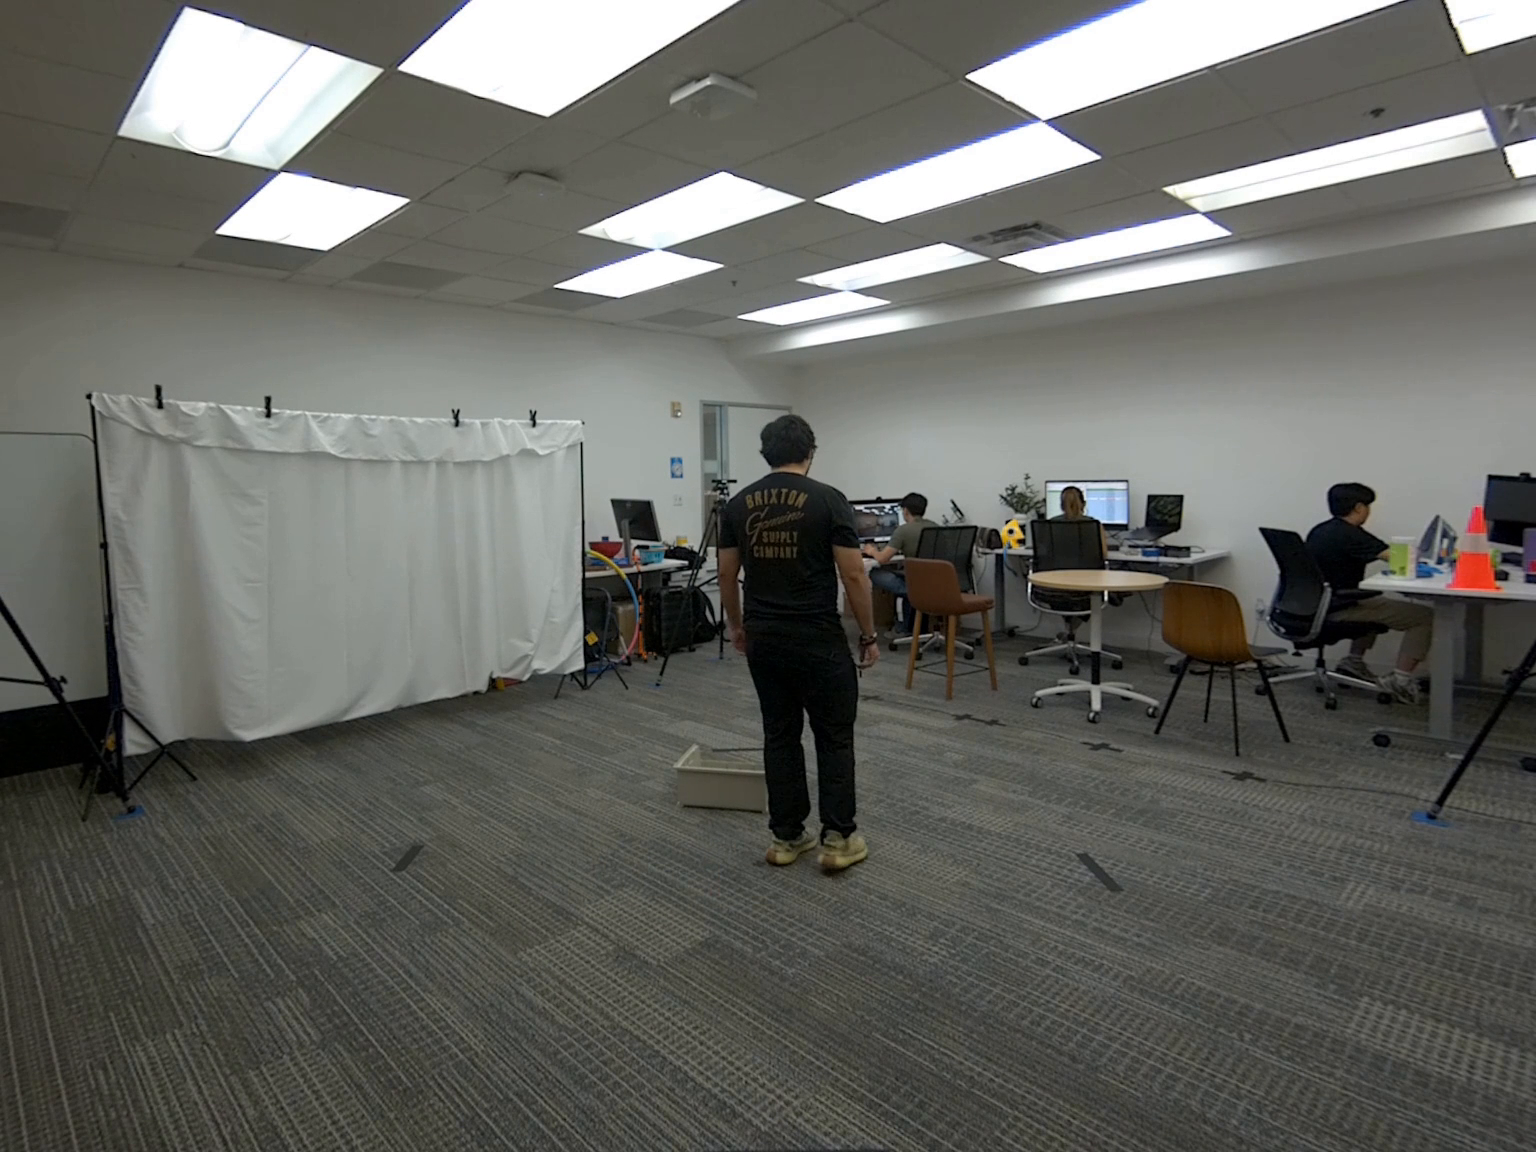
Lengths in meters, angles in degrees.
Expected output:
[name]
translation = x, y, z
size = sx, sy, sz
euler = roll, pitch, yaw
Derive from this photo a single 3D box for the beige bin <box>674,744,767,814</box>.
[beige bin]
translation = -0.165, 0.887, 3.788
size = 0.428, 0.188, 0.374
euler = 1, 7, 13
